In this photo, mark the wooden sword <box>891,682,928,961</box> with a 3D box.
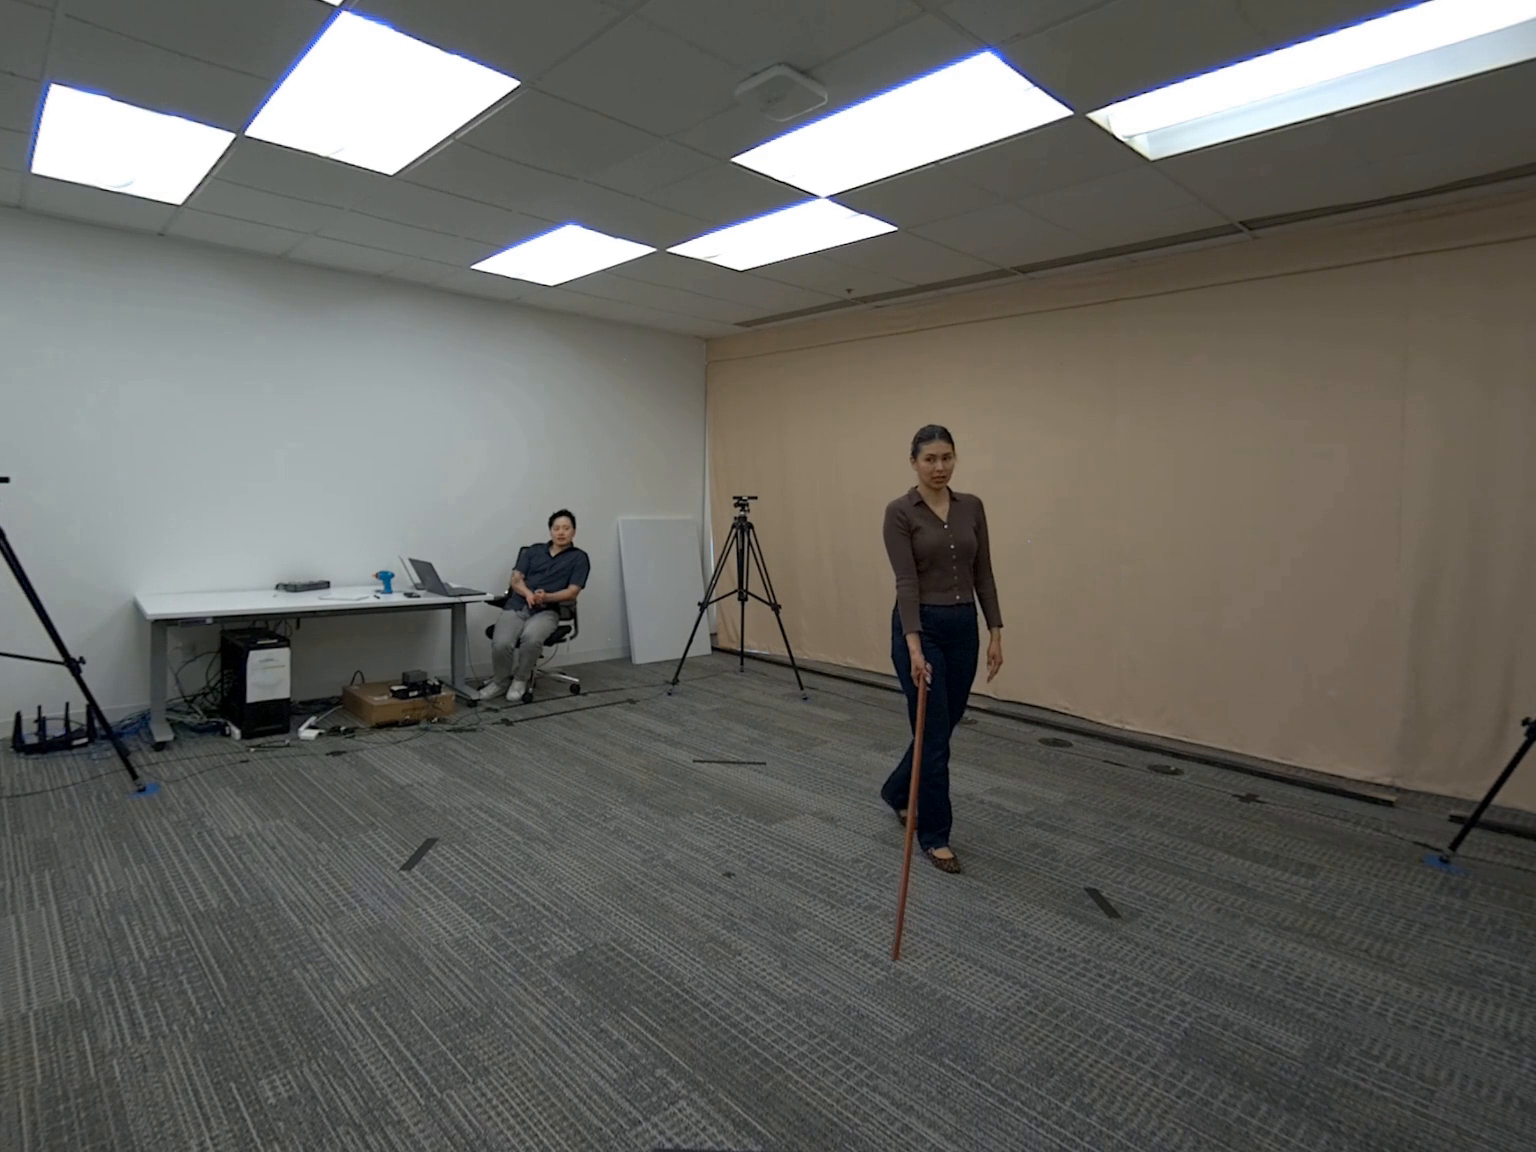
[{"bbox_3d":[0.484,0.762,2.840,0.051,1.040,0.024,13,-34,-1],"label":"wooden sword"}]
